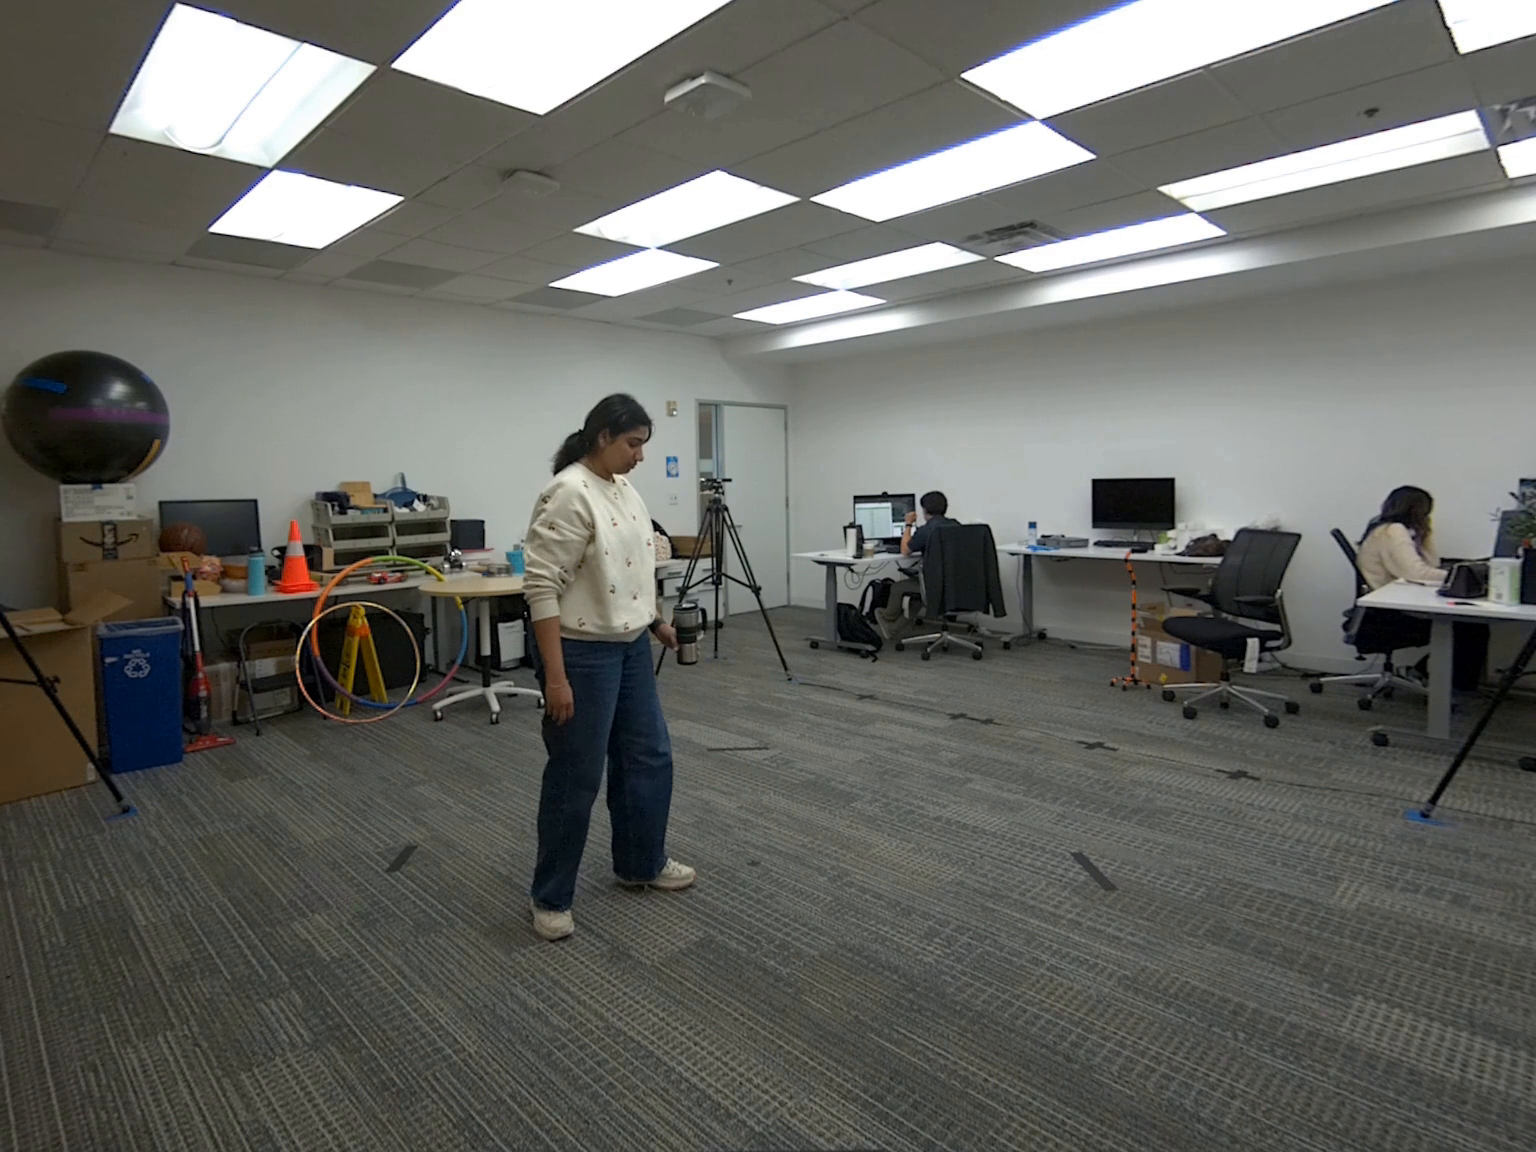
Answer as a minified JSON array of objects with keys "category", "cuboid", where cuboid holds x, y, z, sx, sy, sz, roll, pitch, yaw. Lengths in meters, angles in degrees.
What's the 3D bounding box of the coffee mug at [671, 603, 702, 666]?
[{"category":"coffee mug","cuboid":[-0.257,0.195,2.892,0.120,0.202,0.089,-7,5,-16]}]
